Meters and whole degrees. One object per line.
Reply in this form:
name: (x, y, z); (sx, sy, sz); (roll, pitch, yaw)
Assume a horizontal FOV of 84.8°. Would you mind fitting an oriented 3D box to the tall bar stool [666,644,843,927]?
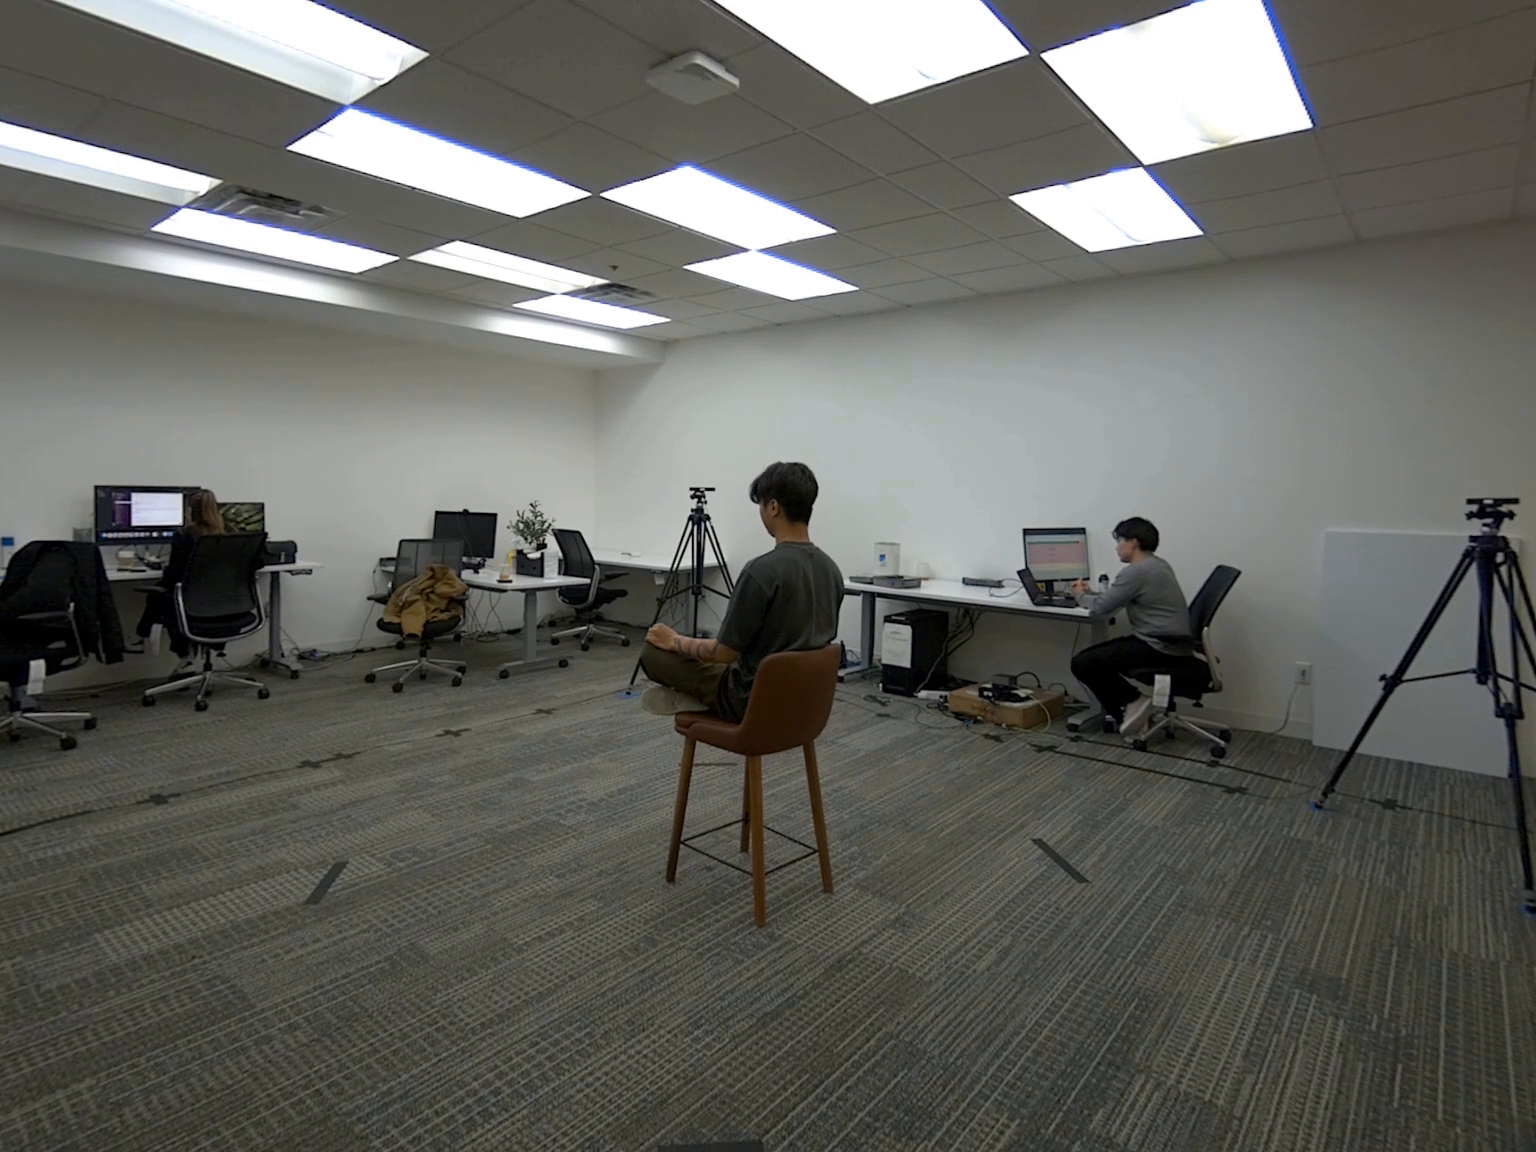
tall bar stool: (-0.052, 0.649, 2.953); (0.484, 0.886, 0.442); (8, 6, 44)
